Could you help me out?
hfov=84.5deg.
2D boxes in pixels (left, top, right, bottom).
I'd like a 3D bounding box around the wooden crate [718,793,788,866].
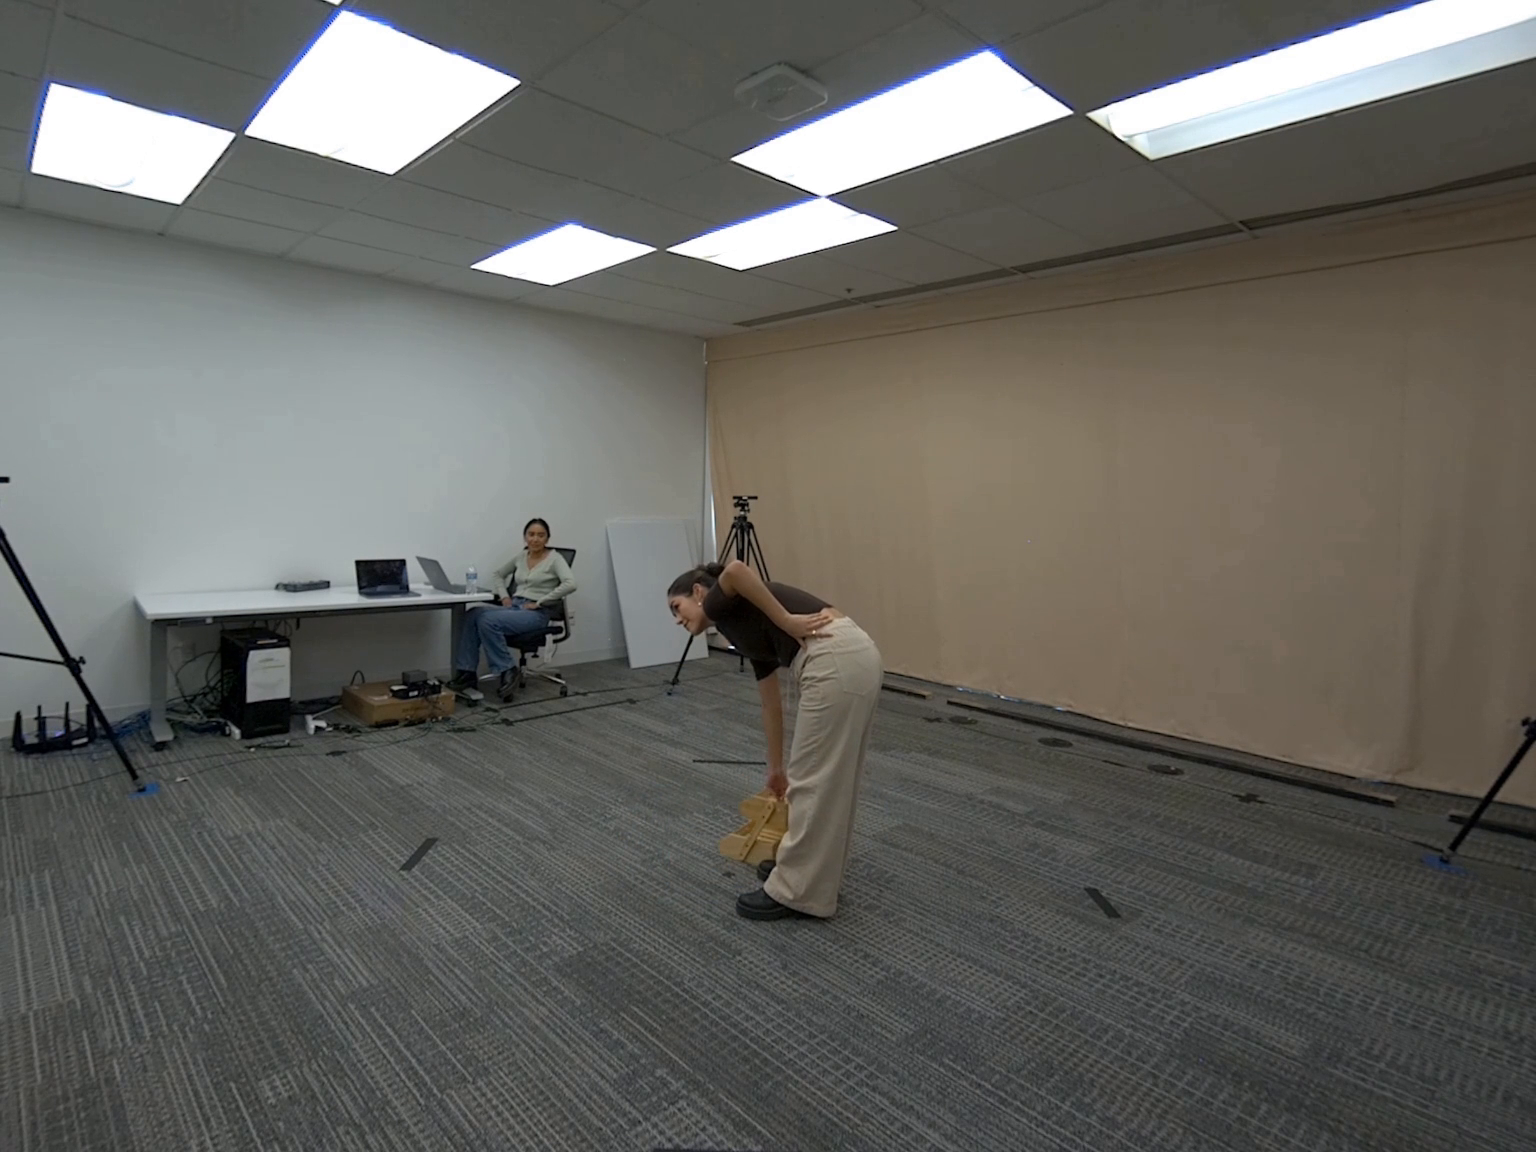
[{"bbox_3d":[-0.005,0.954,3.326,0.309,0.272,0.318,4,5,30],"label":"wooden crate"}]
